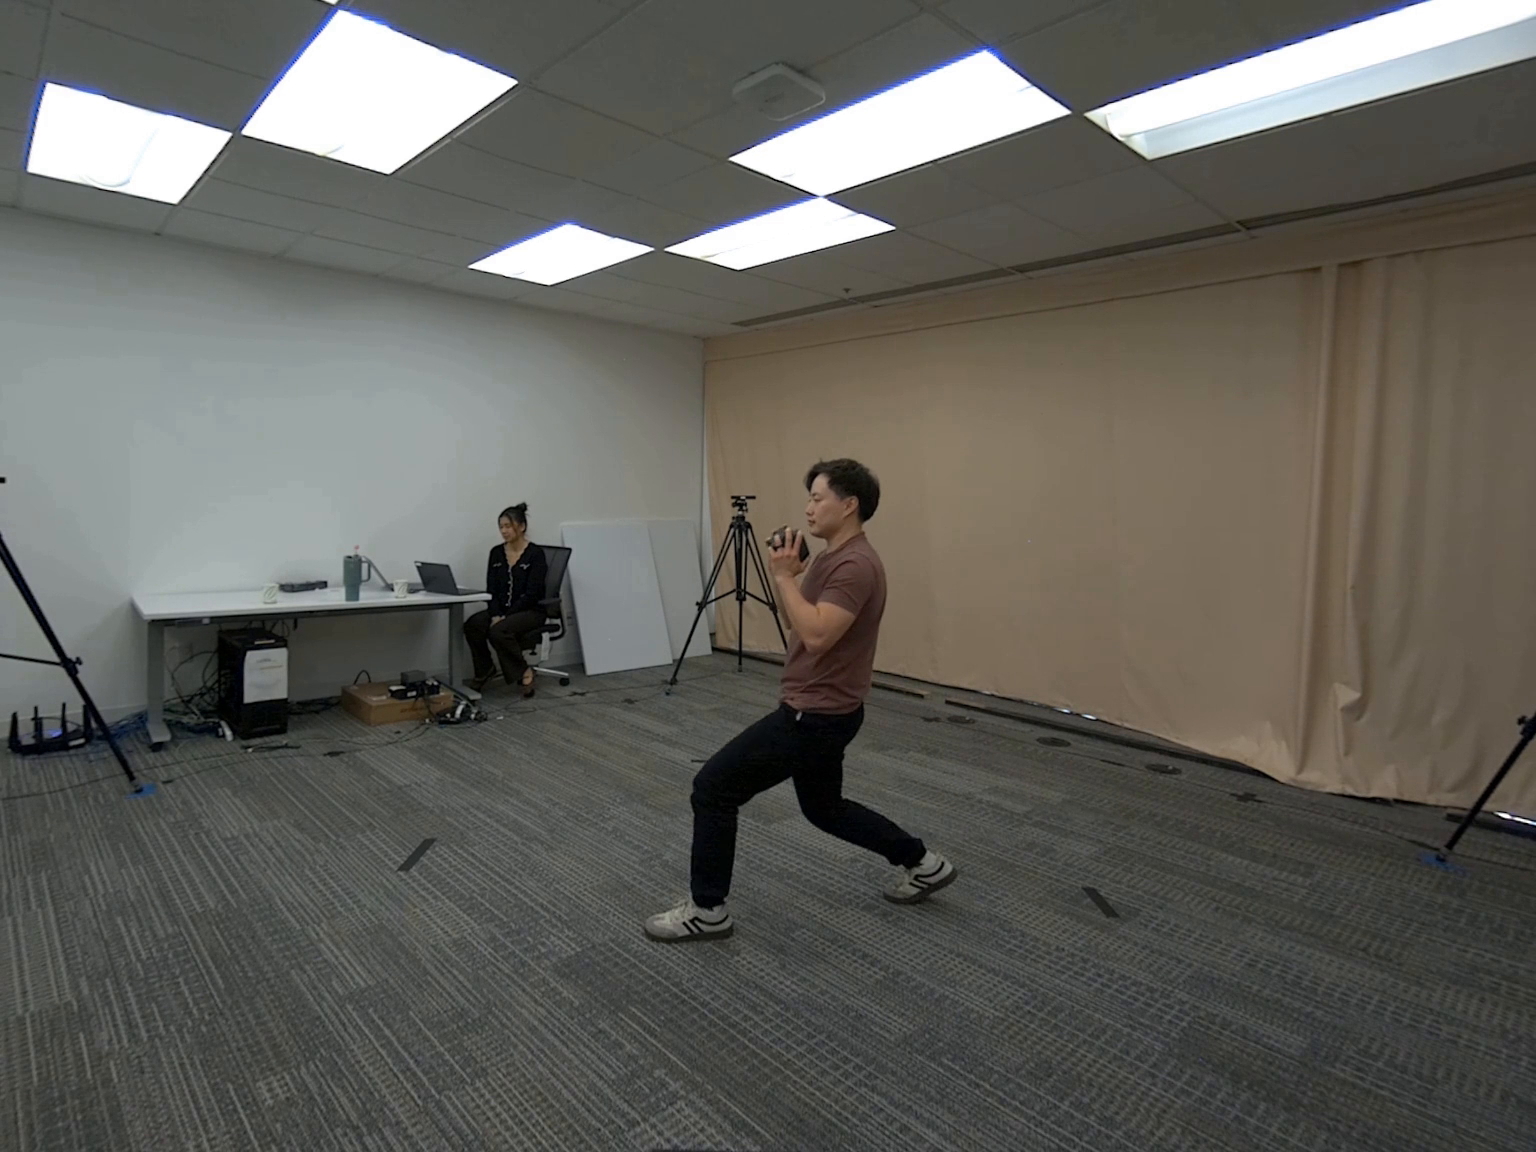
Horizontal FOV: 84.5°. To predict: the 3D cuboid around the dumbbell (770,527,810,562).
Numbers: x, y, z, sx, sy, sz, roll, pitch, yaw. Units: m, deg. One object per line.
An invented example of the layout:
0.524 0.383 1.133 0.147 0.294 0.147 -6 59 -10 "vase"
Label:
0.117 -0.083 2.727 0.123 0.108 0.293 14 4 4 "dumbbell"
